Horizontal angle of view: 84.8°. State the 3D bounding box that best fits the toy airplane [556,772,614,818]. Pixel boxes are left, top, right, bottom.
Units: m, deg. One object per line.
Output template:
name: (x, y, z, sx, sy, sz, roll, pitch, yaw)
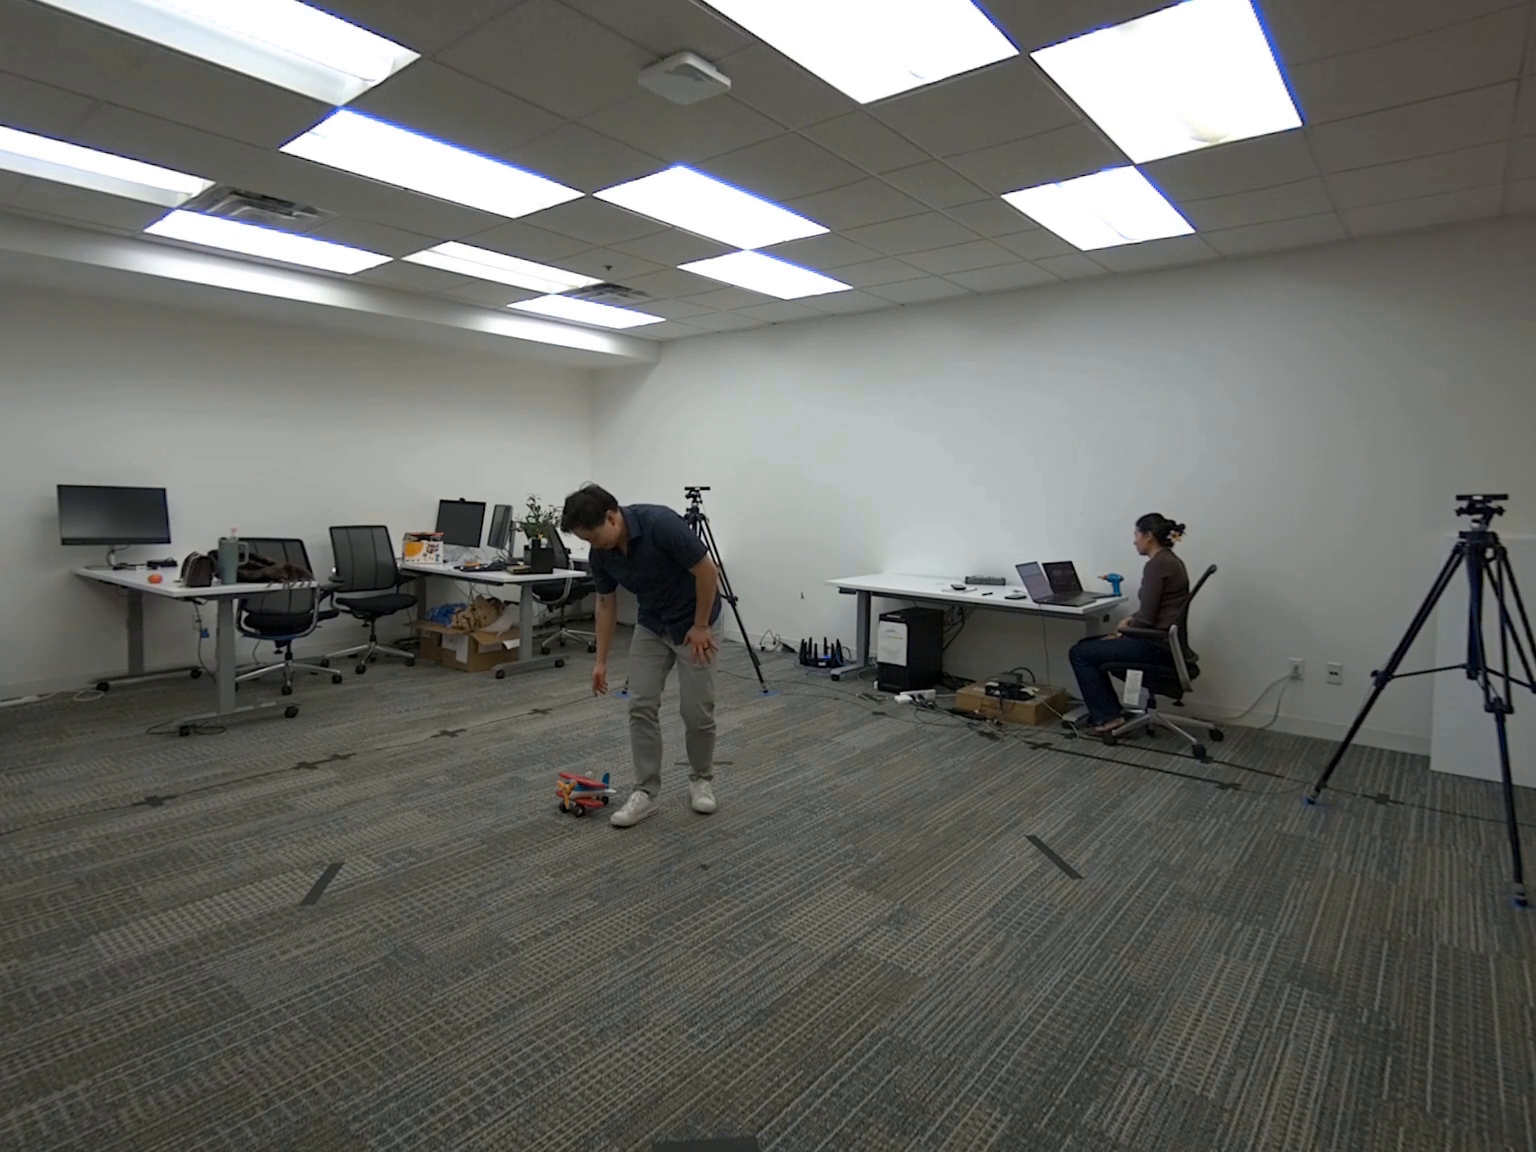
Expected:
toy airplane: (-0.810, 0.929, 3.678, 0.254, 0.156, 0.257, 0, 5, 9)
